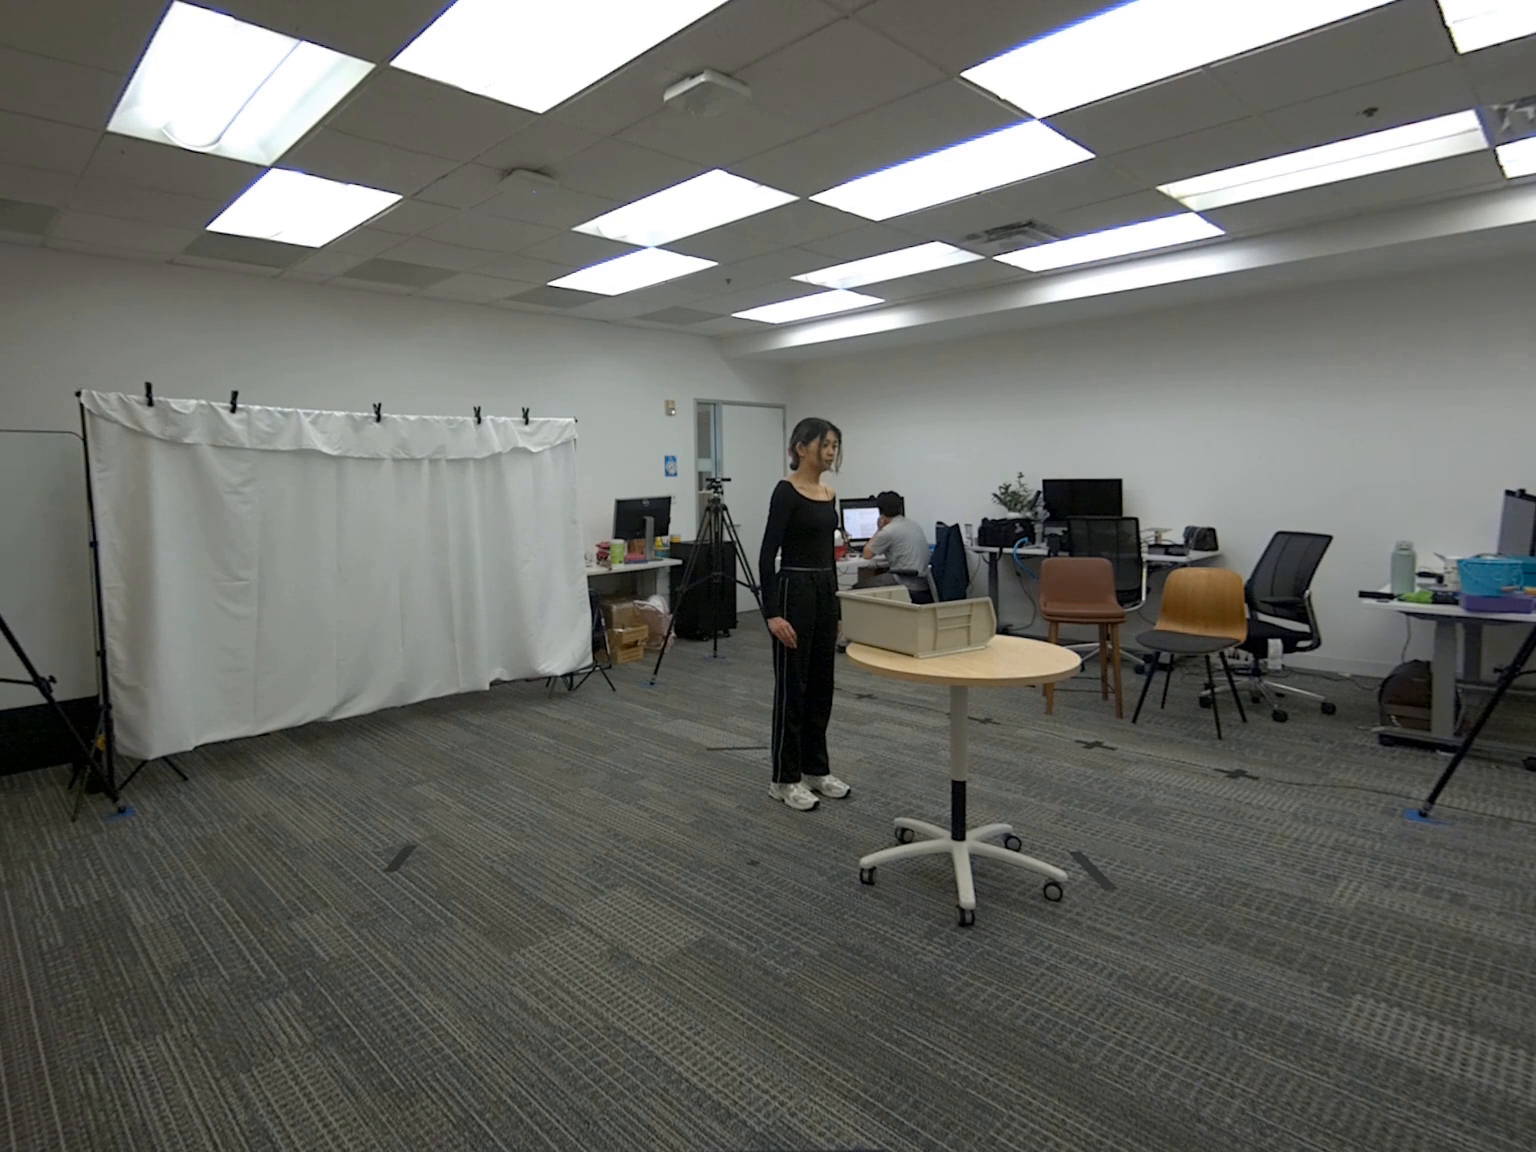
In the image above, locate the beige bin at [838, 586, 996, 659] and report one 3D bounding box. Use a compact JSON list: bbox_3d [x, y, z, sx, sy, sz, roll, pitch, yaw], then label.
[{"bbox_3d":[0.525,0.154,3.066,0.368,0.188,0.435,-6,8,-33],"label":"beige bin"}]
